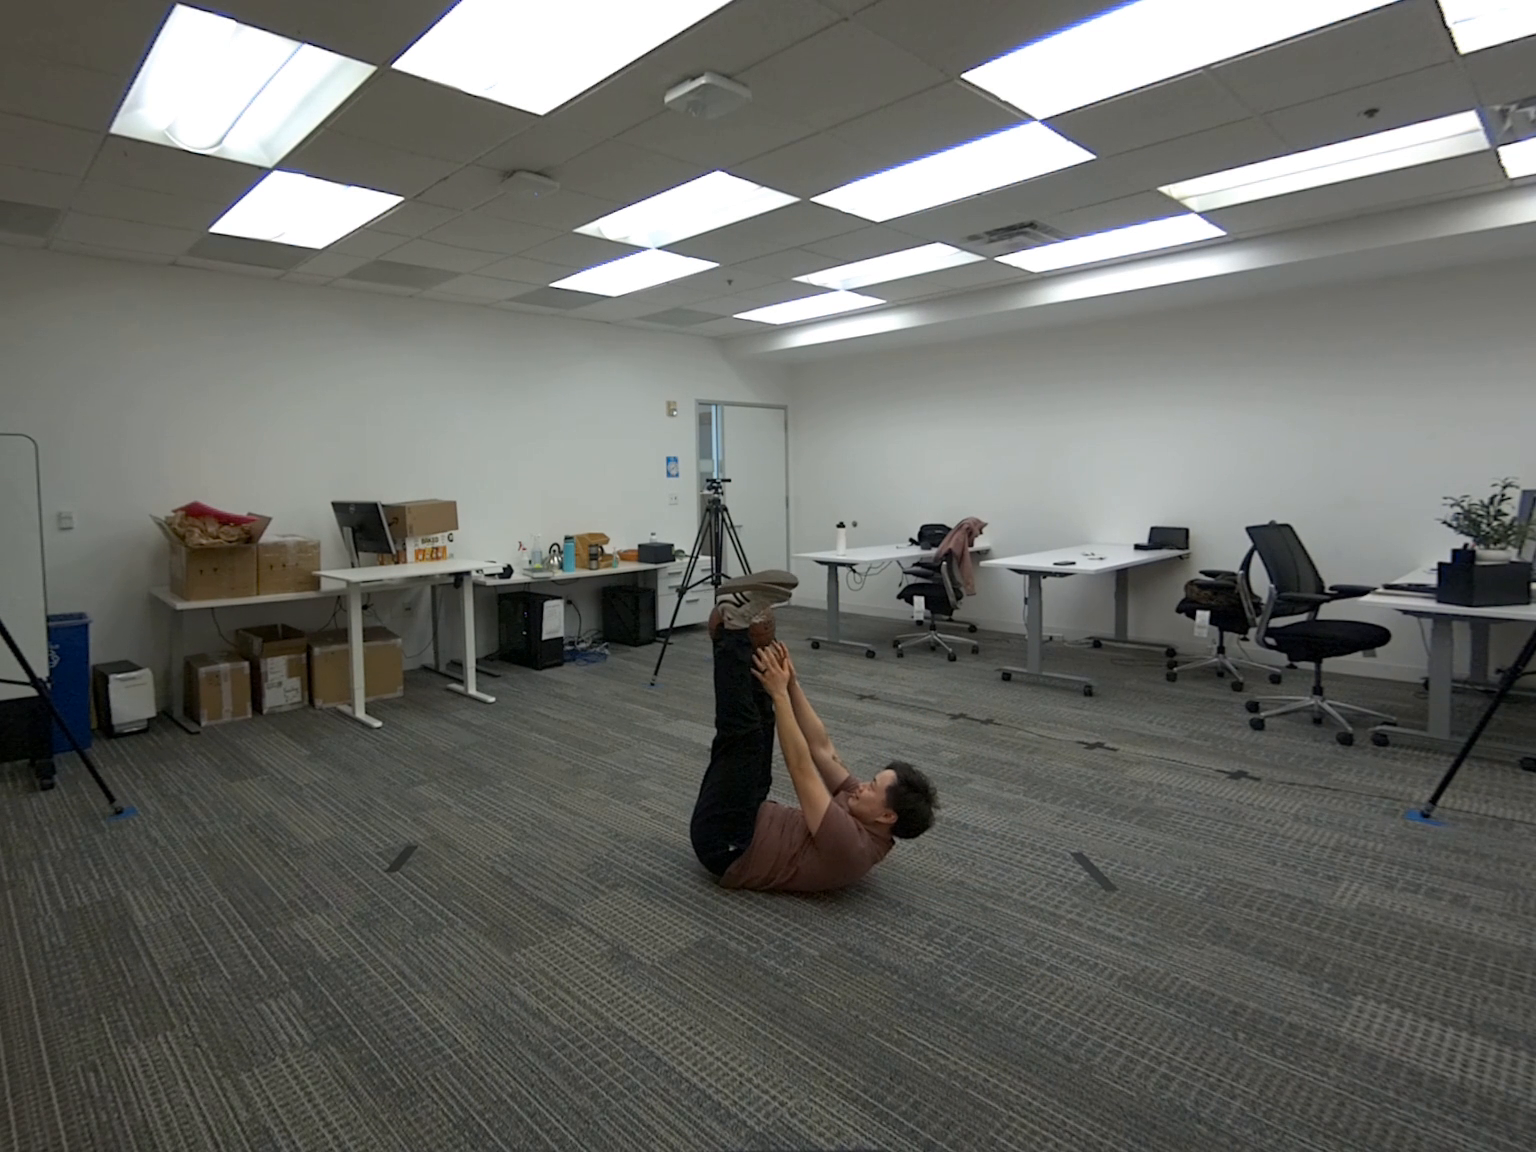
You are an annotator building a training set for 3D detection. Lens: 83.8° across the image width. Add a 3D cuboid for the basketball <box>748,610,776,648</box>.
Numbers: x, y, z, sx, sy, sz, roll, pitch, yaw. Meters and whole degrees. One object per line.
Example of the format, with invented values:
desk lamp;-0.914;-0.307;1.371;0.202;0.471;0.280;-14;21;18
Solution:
basketball;-0.089;0.173;2.991;0.236;0.236;0.236;0;1;-2
